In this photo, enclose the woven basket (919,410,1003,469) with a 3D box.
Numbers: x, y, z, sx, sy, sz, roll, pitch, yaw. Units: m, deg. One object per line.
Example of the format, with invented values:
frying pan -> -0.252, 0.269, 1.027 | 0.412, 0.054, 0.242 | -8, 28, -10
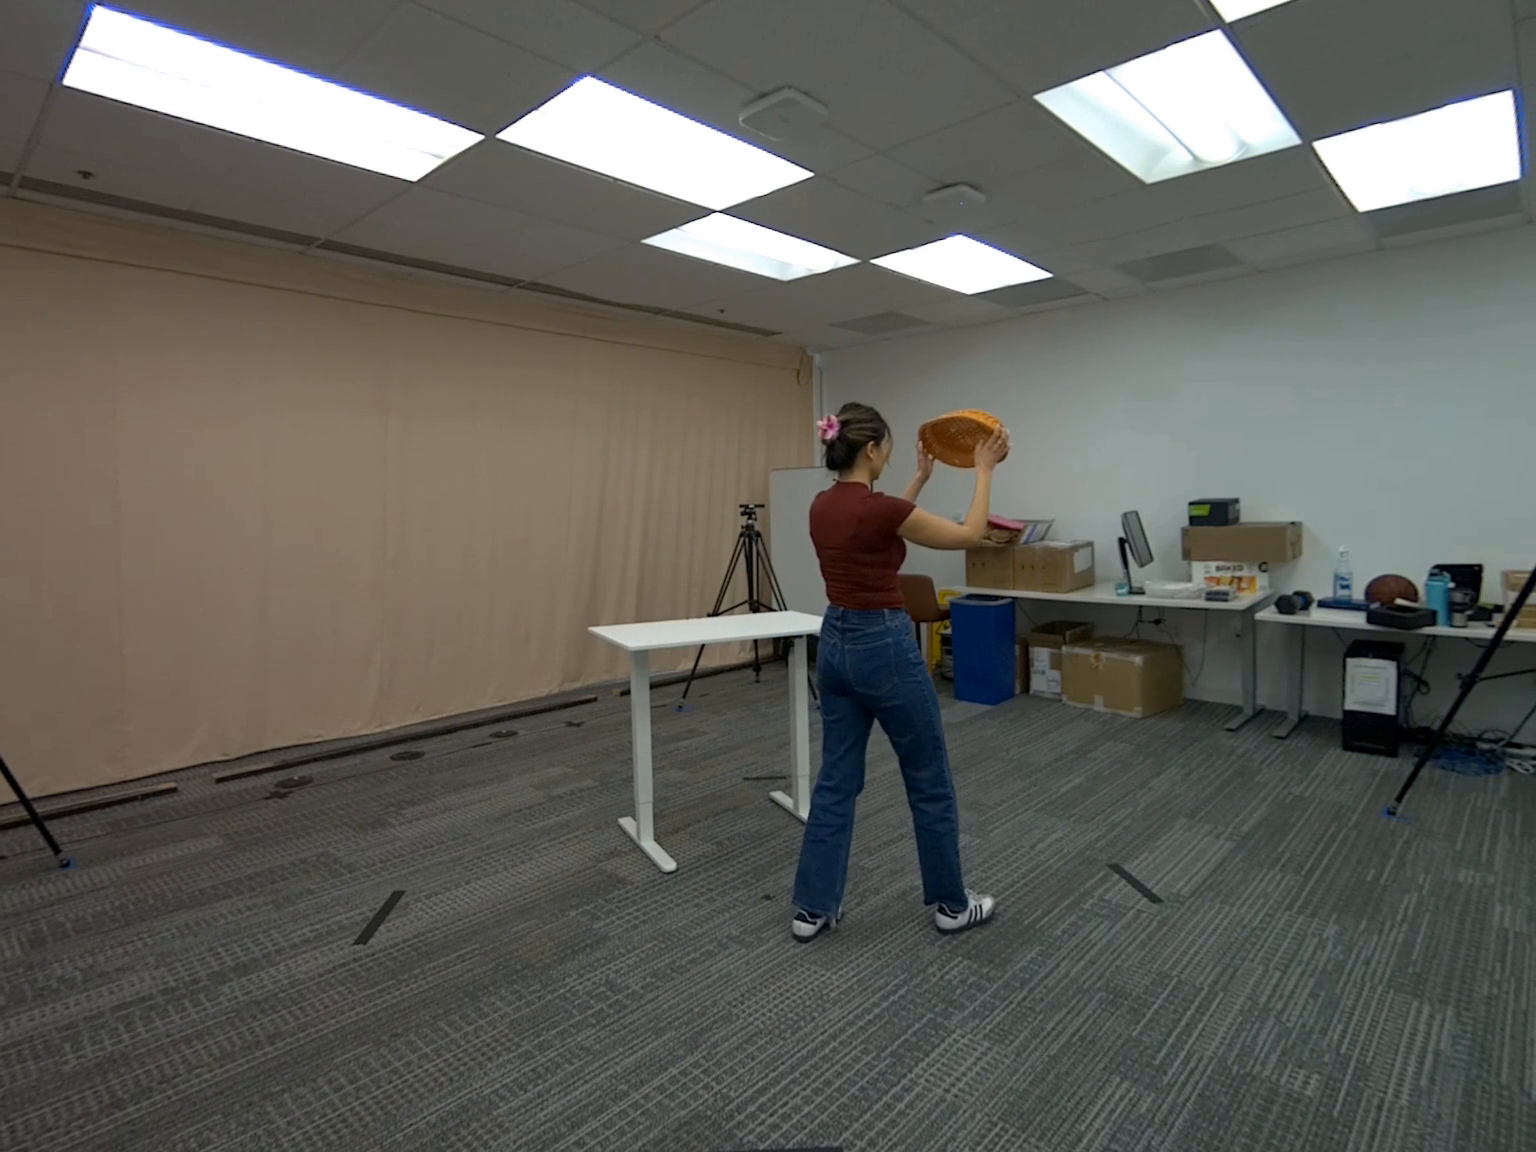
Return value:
woven basket -> 0.682, -0.484, 2.912 | 0.245, 0.073, 0.361 | 45, -23, -28
